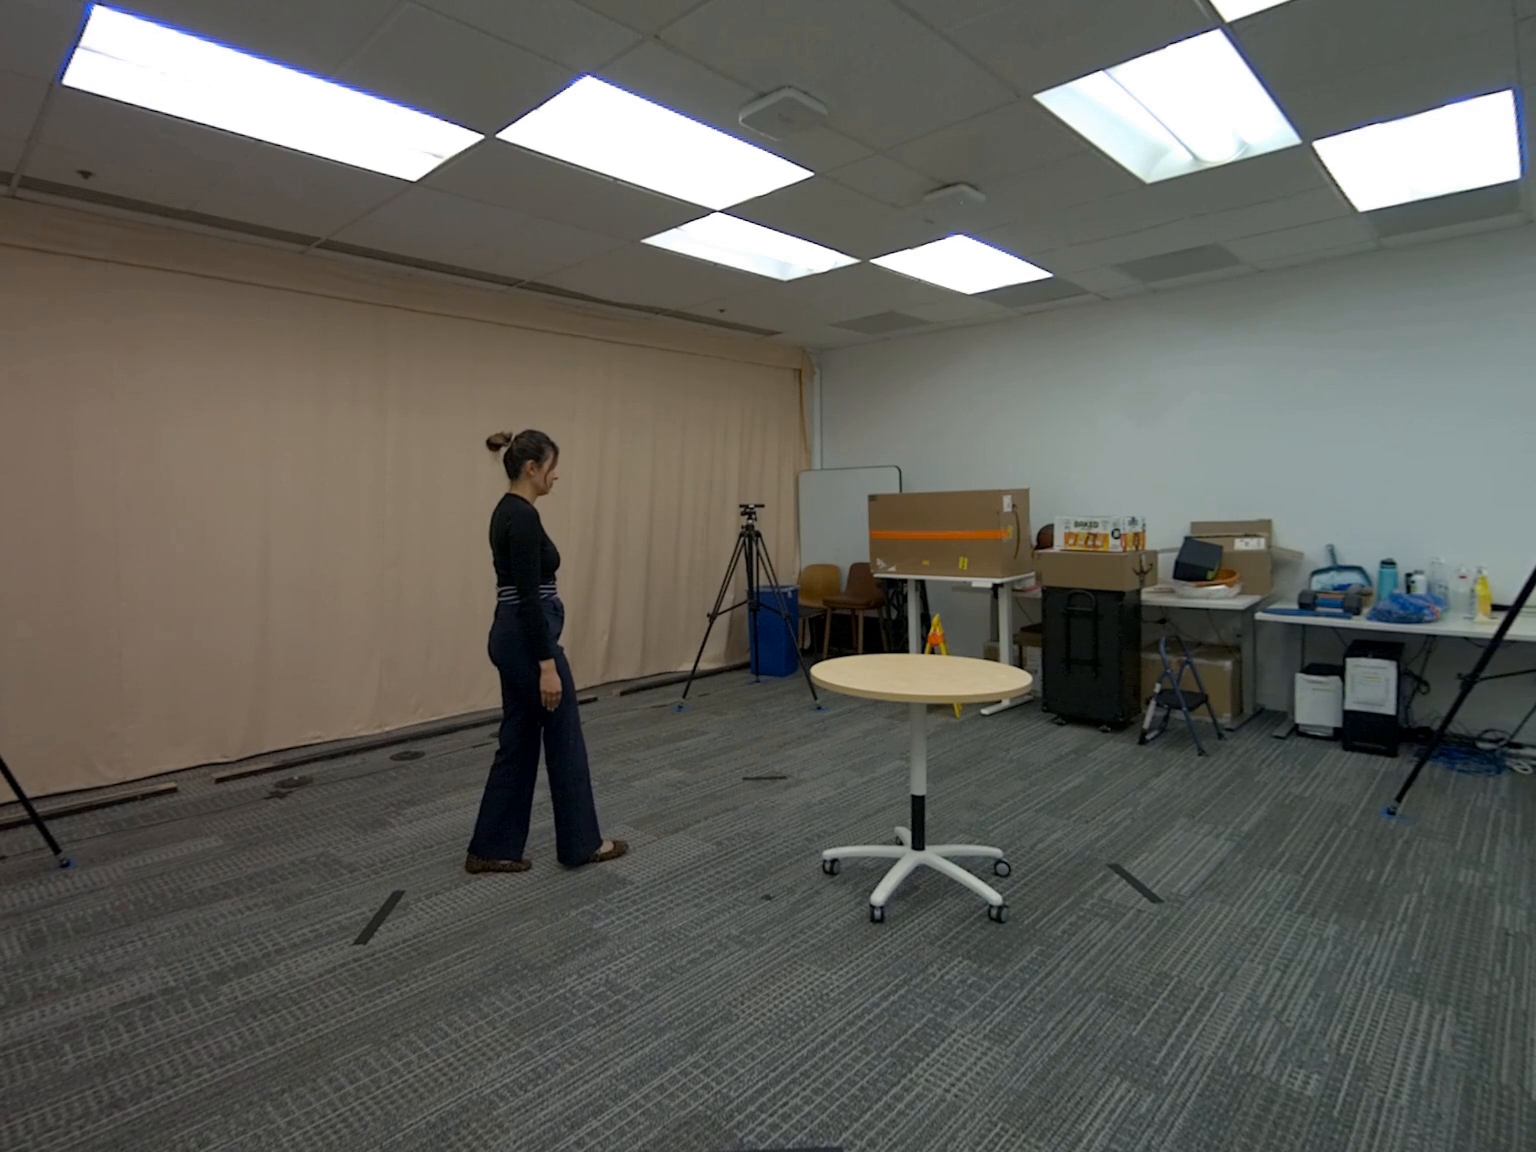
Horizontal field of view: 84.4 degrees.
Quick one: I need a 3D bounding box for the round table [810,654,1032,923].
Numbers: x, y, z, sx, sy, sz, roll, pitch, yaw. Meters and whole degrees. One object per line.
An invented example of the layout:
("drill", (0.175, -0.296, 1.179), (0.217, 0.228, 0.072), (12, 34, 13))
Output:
("round table", (0.544, 0.737, 3.022), (0.763, 0.792, 0.766), (-1, 4, -2))
